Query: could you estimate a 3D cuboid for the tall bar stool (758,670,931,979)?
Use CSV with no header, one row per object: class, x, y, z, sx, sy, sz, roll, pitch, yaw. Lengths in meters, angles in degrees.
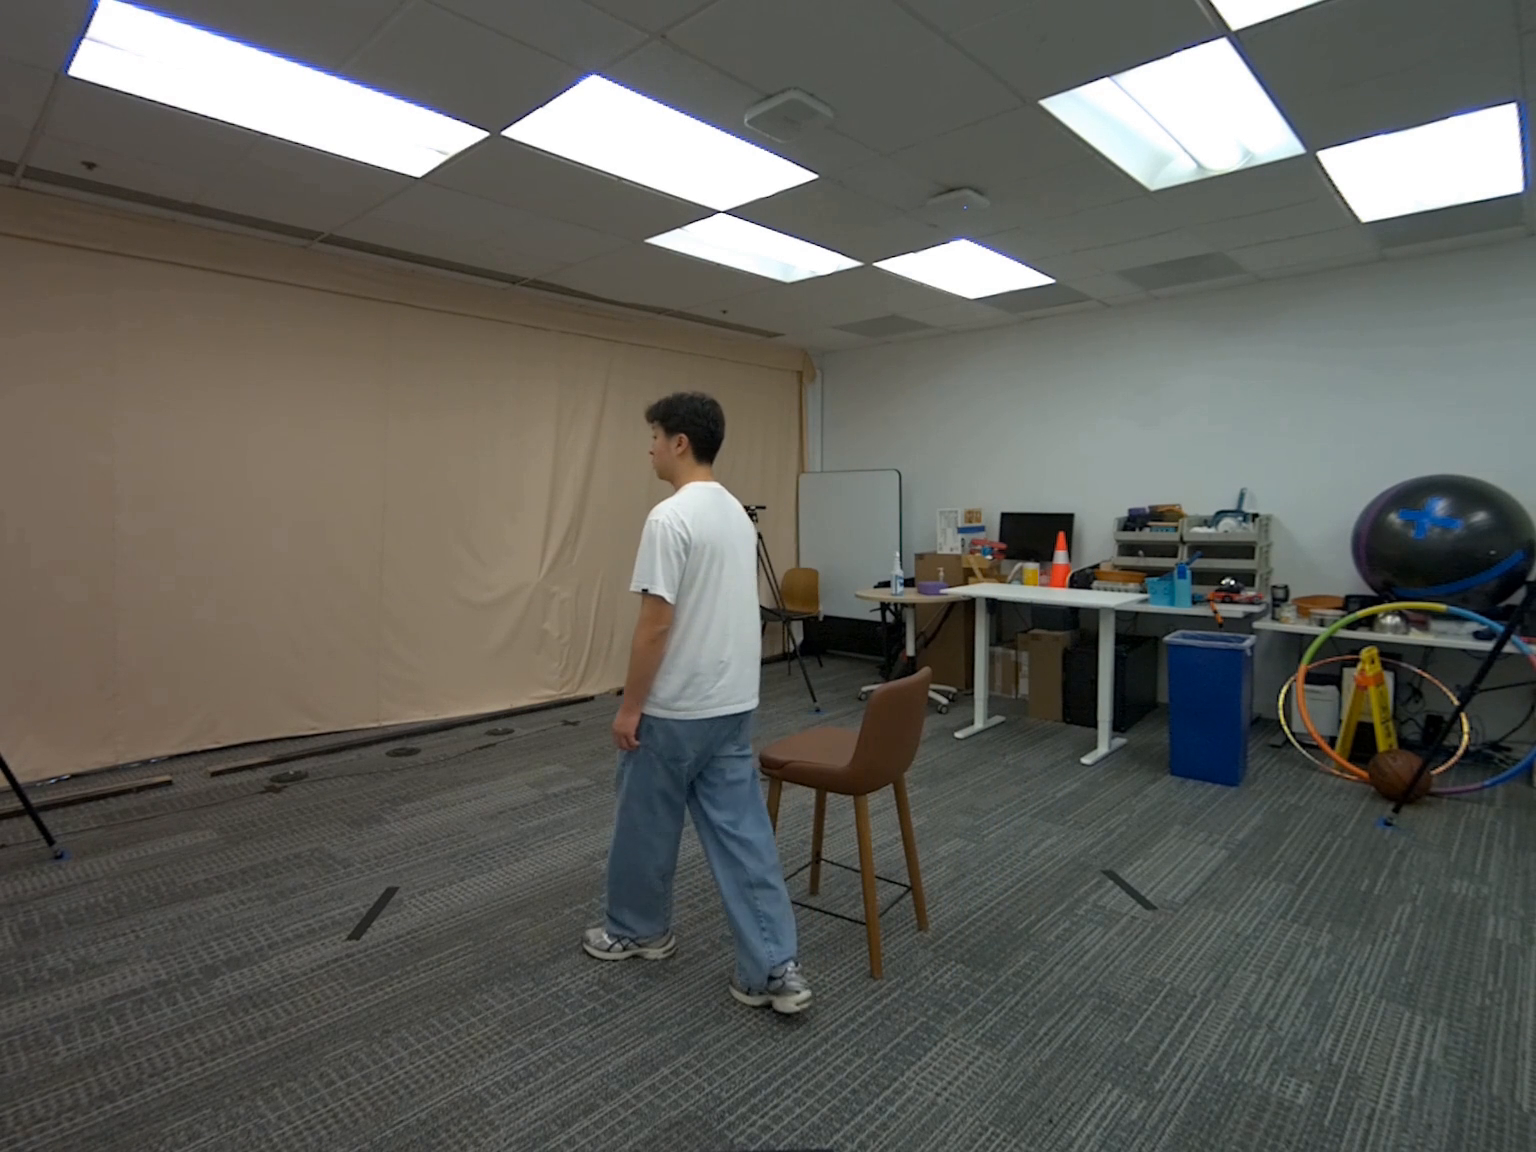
tall bar stool,0.247,0.731,2.724,0.483,0.887,0.443,5,6,35
